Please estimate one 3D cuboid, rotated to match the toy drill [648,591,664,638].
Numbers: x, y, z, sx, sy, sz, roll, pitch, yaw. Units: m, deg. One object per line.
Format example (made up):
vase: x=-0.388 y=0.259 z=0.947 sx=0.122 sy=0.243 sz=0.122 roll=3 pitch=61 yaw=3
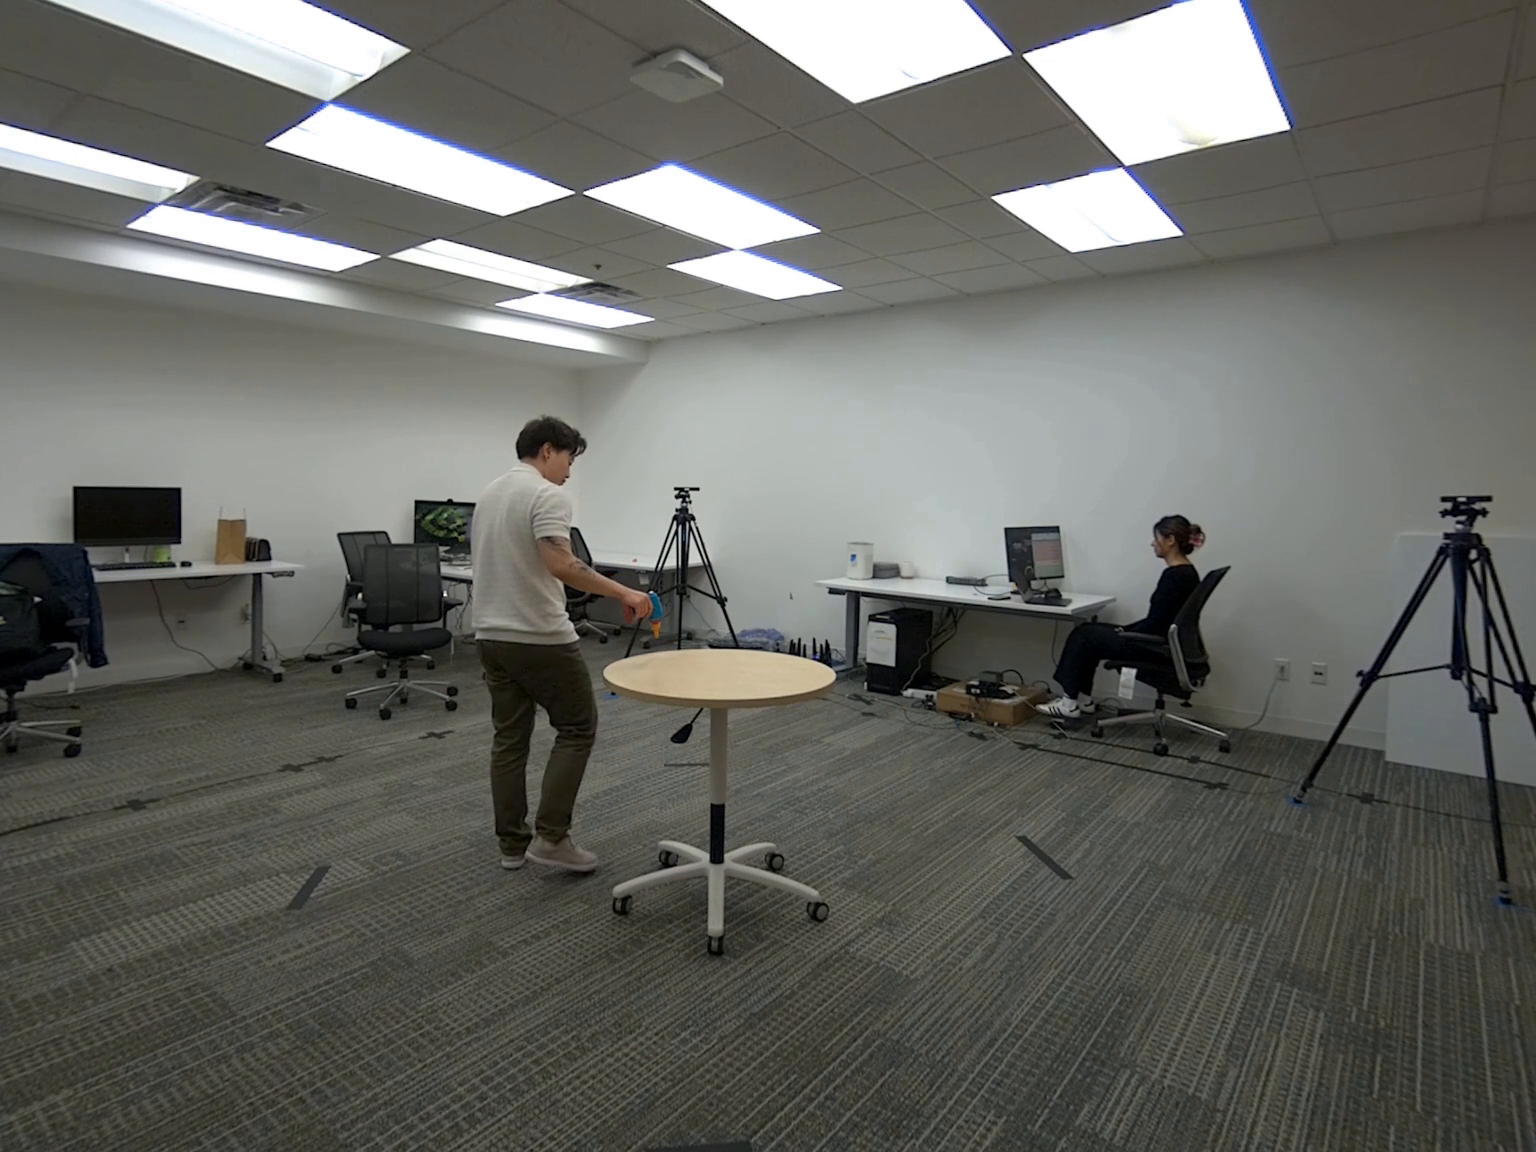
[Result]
toy drill: x=-0.449 y=0.145 z=3.011 sx=0.143 sy=0.168 sz=0.063 roll=-10 pitch=13 yaw=-28
